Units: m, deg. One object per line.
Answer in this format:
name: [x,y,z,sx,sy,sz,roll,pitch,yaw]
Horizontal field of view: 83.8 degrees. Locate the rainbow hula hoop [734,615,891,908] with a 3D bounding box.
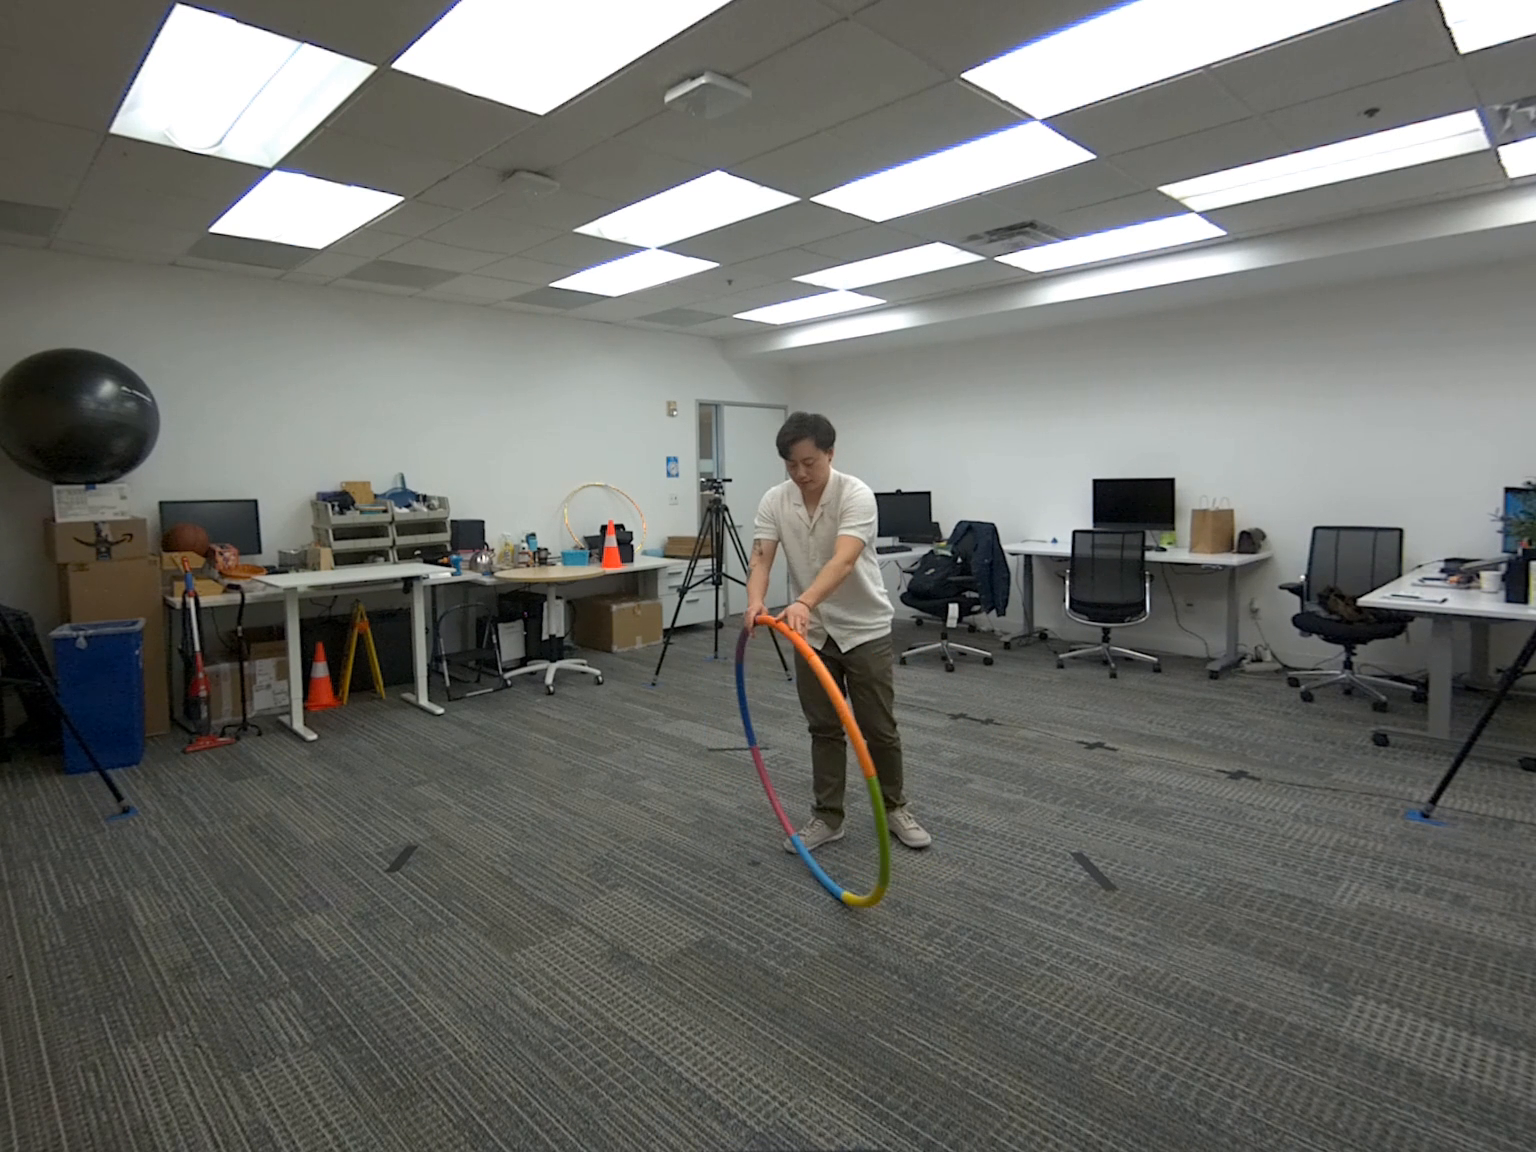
rainbow hula hoop: [0.121,0.598,2.824,0.035,0.970,1.001,-16,10,-21]
